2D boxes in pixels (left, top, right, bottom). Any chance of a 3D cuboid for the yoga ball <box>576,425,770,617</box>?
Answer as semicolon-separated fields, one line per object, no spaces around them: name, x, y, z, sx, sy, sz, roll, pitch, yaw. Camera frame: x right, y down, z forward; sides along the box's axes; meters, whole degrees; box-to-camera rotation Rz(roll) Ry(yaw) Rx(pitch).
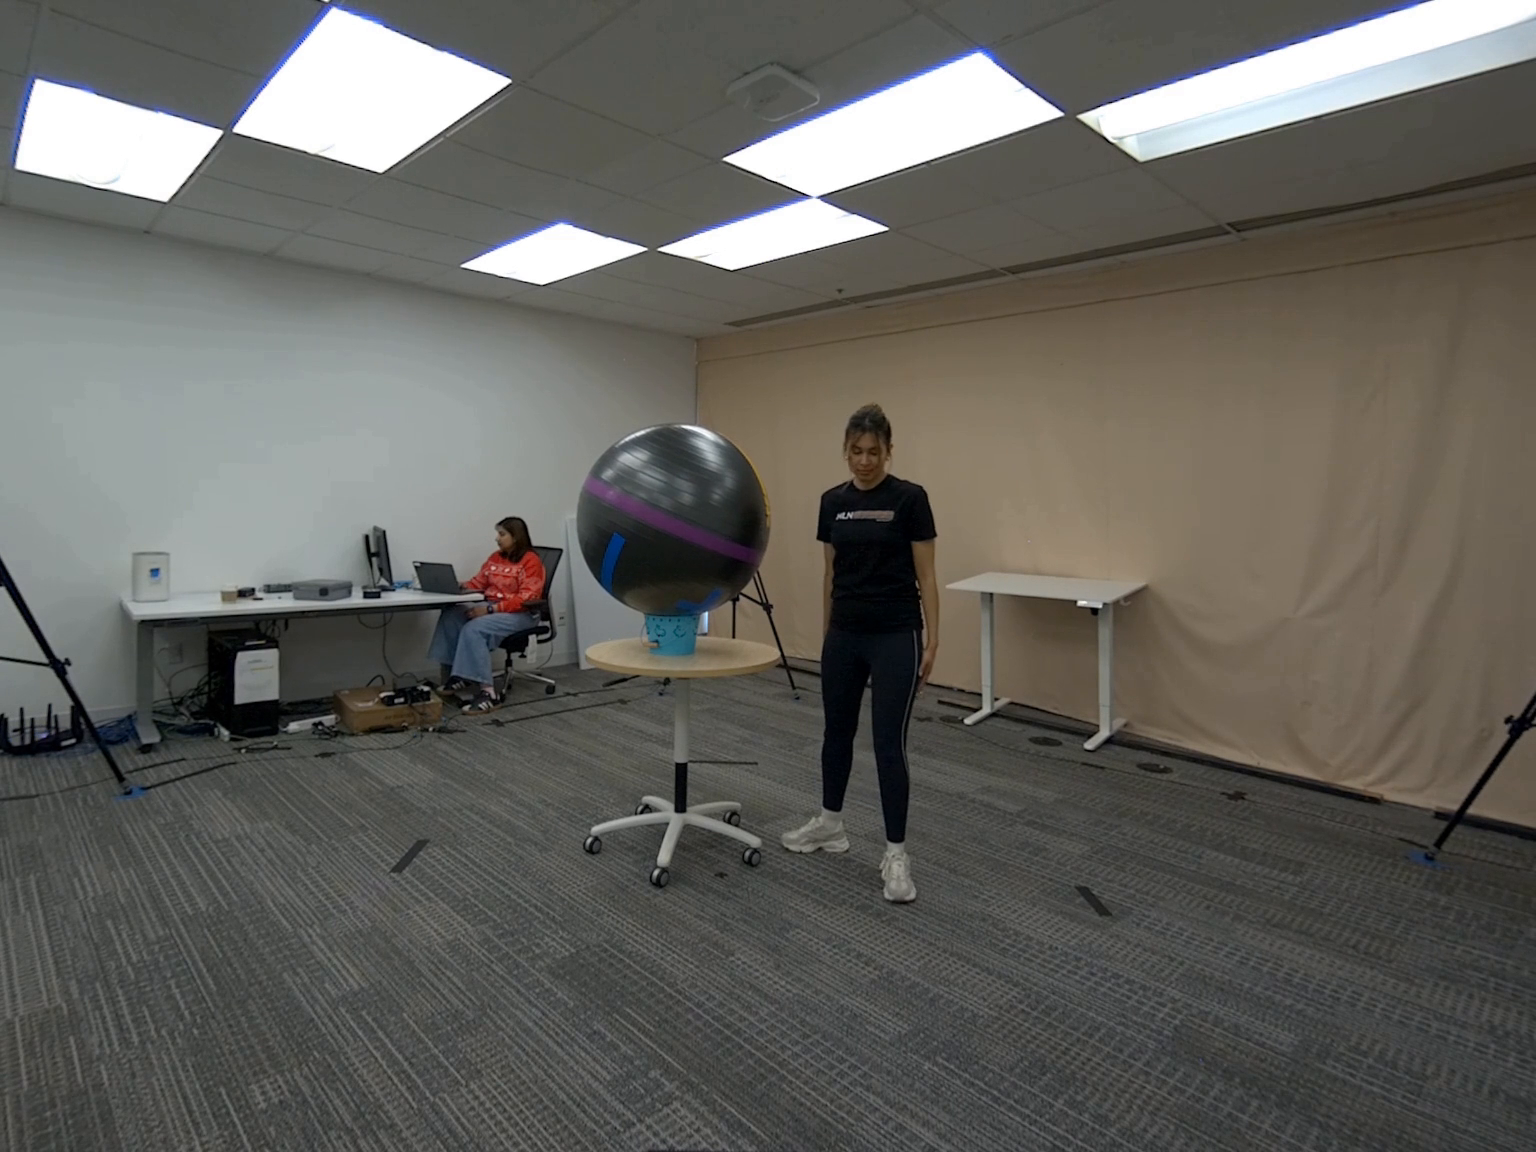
yoga ball;-0.385;-0.212;3.303;0.757;0.756;0.761;1;4;-1
